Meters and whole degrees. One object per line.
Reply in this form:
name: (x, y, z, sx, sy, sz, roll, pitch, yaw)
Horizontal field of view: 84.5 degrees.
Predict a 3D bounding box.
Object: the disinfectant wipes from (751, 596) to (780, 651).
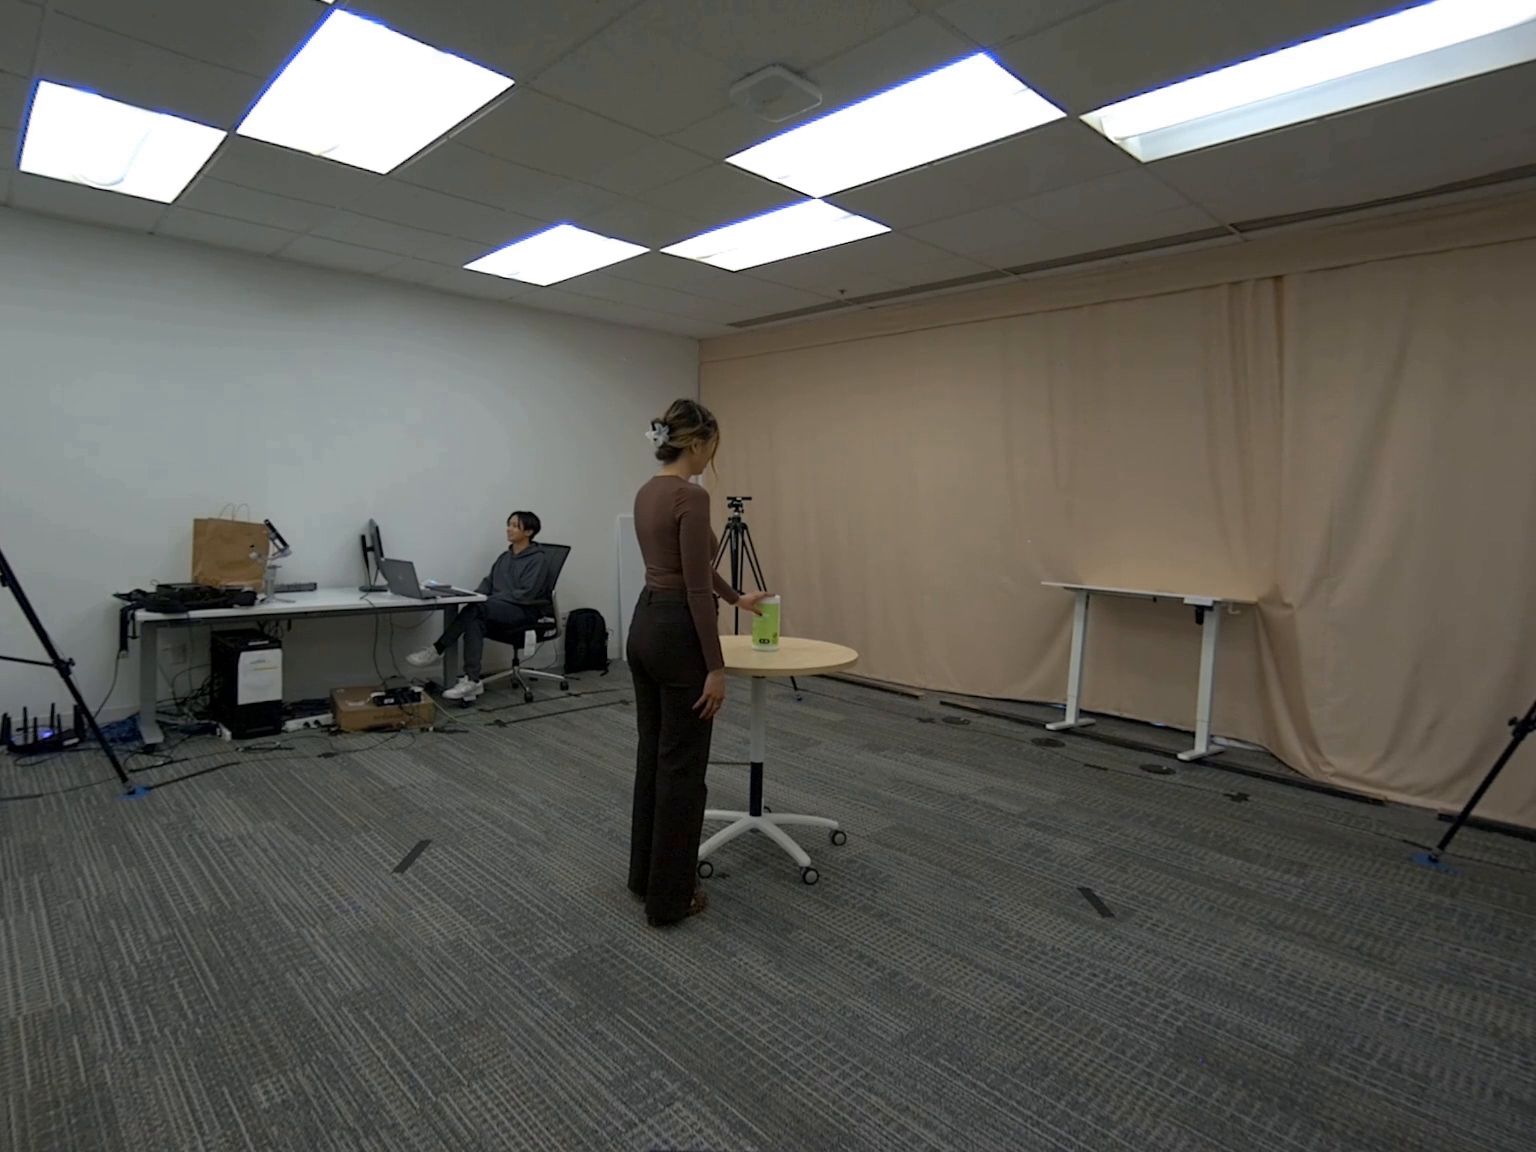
disinfectant wipes: (-0.016, 0.185, 3.341, 0.118, 0.217, 0.118, 1, 4, -1)
